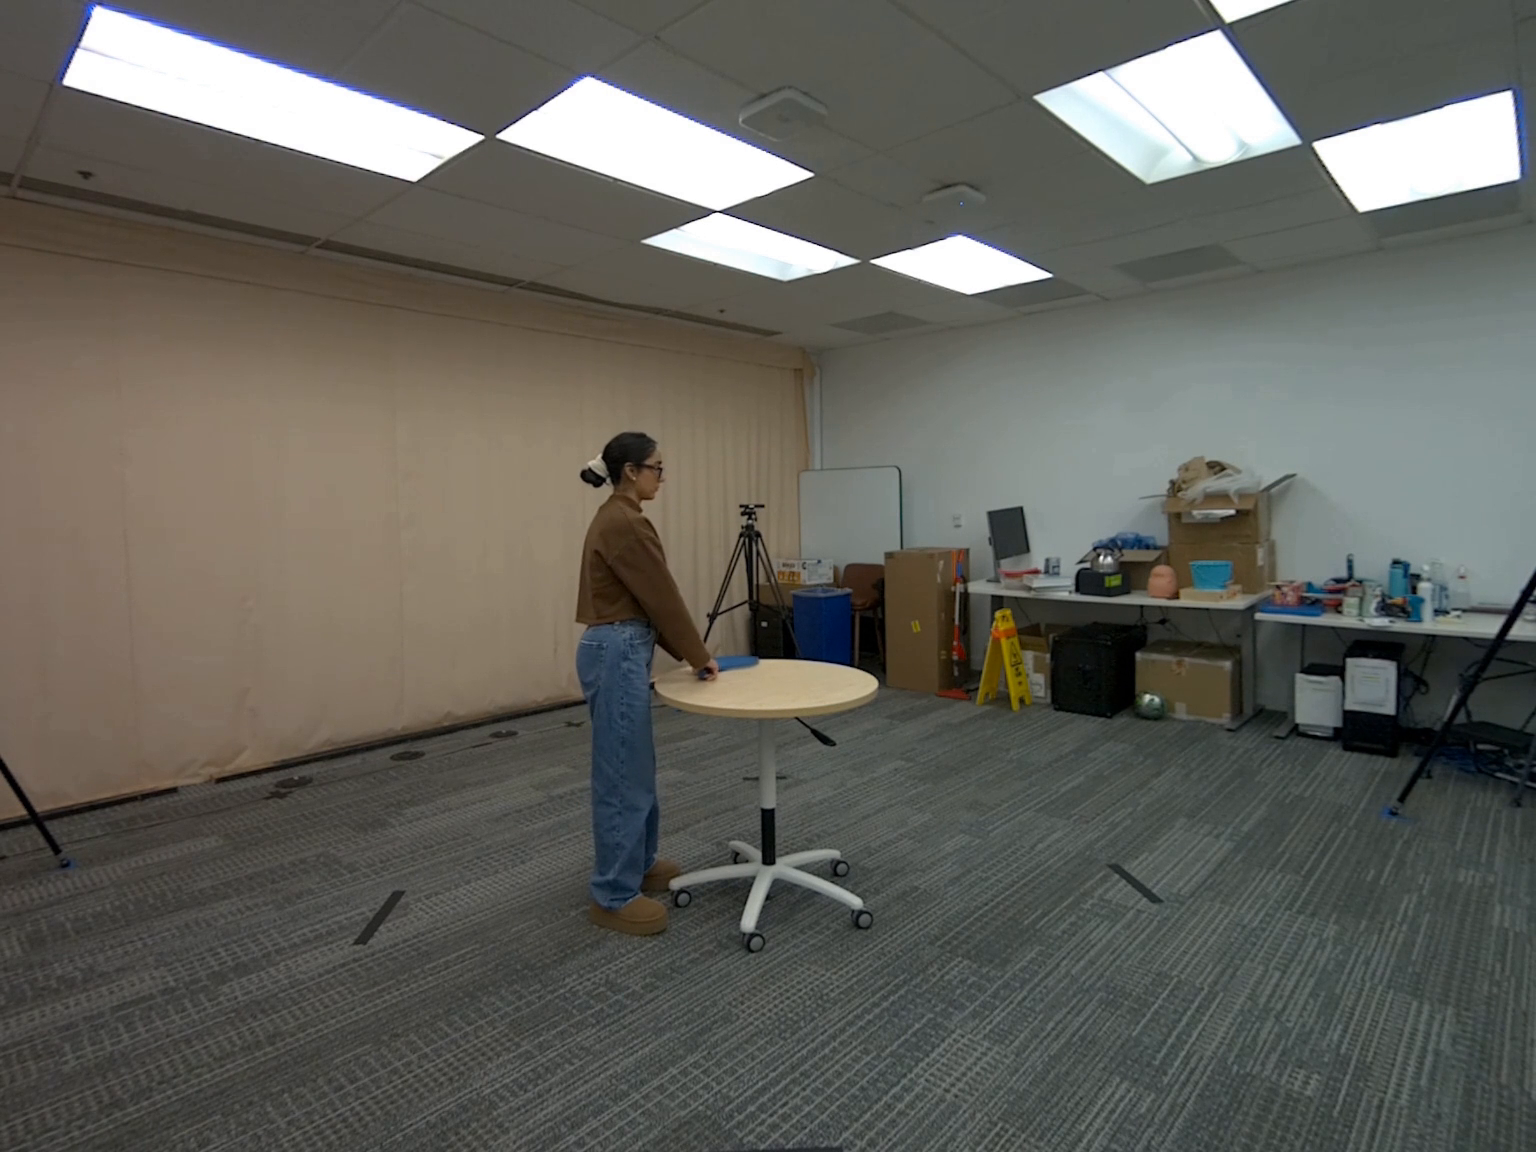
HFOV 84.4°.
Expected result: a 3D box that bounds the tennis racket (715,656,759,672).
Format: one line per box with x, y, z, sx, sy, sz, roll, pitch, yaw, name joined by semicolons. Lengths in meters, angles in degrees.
-0.165;0.337;3.143;0.218;0.032;0.424;-1;3;19;tennis racket
